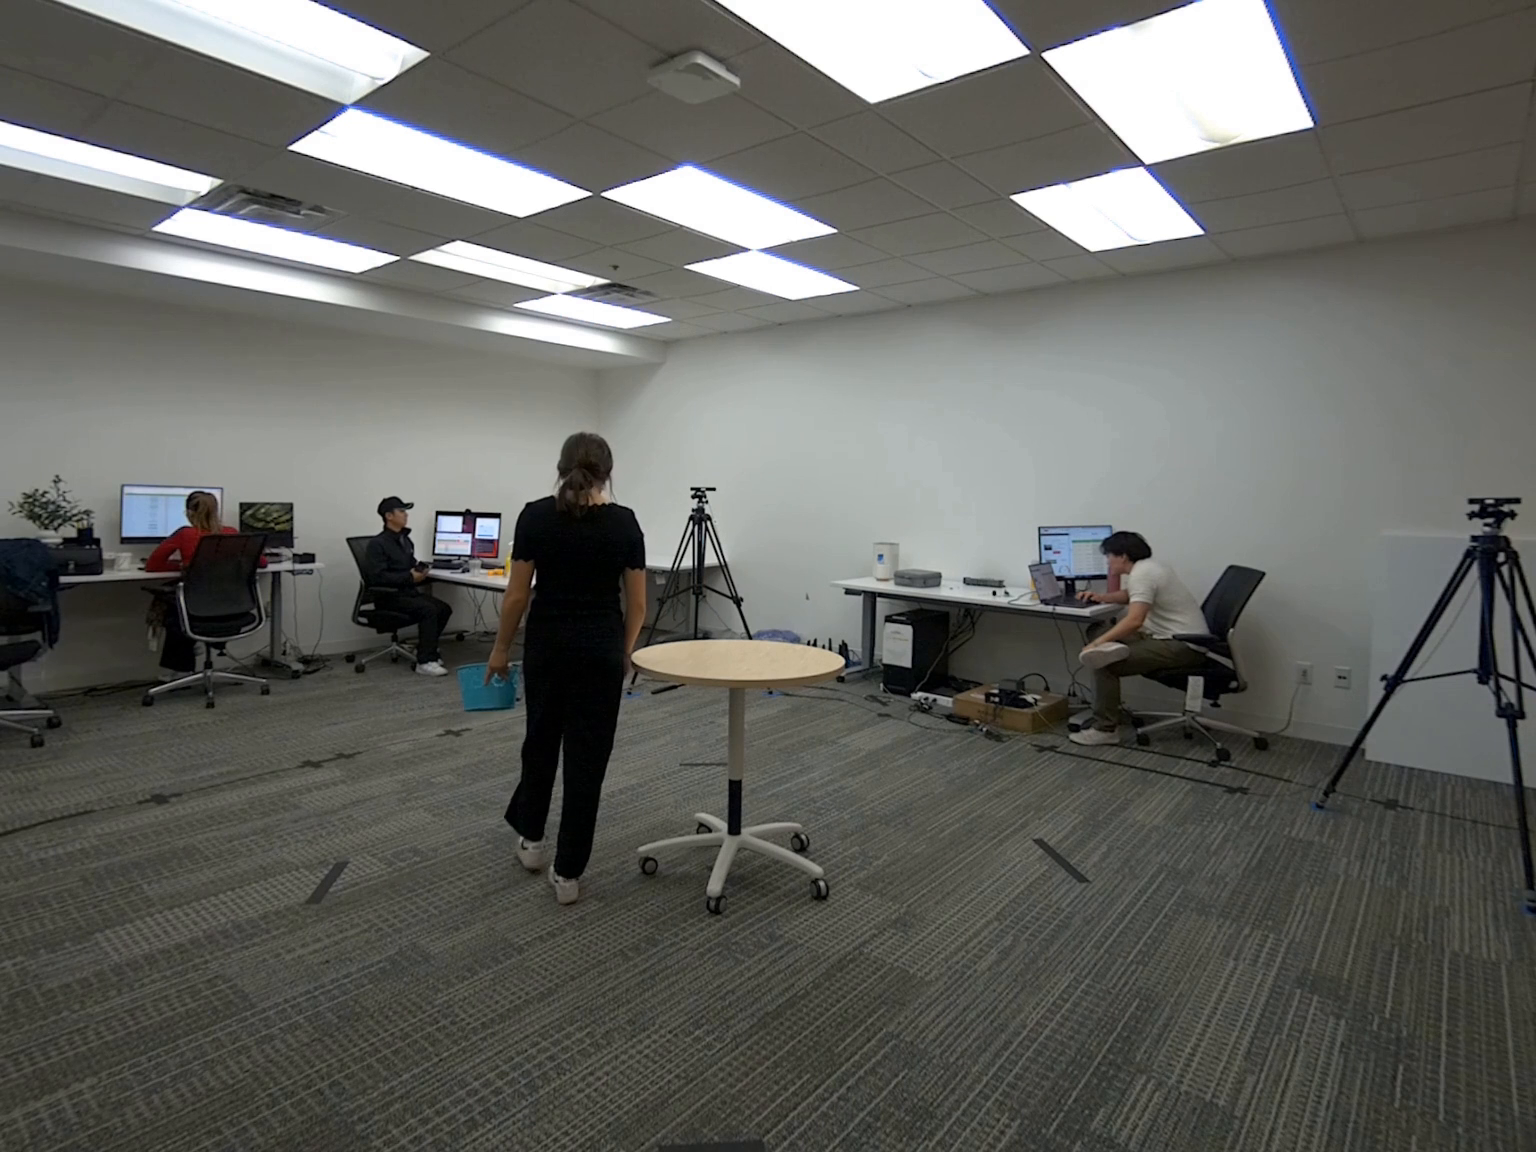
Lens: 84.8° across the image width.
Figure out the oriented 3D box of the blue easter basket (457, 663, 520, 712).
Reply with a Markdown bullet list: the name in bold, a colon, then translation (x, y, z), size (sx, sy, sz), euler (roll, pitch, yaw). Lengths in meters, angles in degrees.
- **blue easter basket**: translation (-1.031, 0.404, 3.103), size (0.243, 0.158, 0.241), euler (-3, -11, -2)
